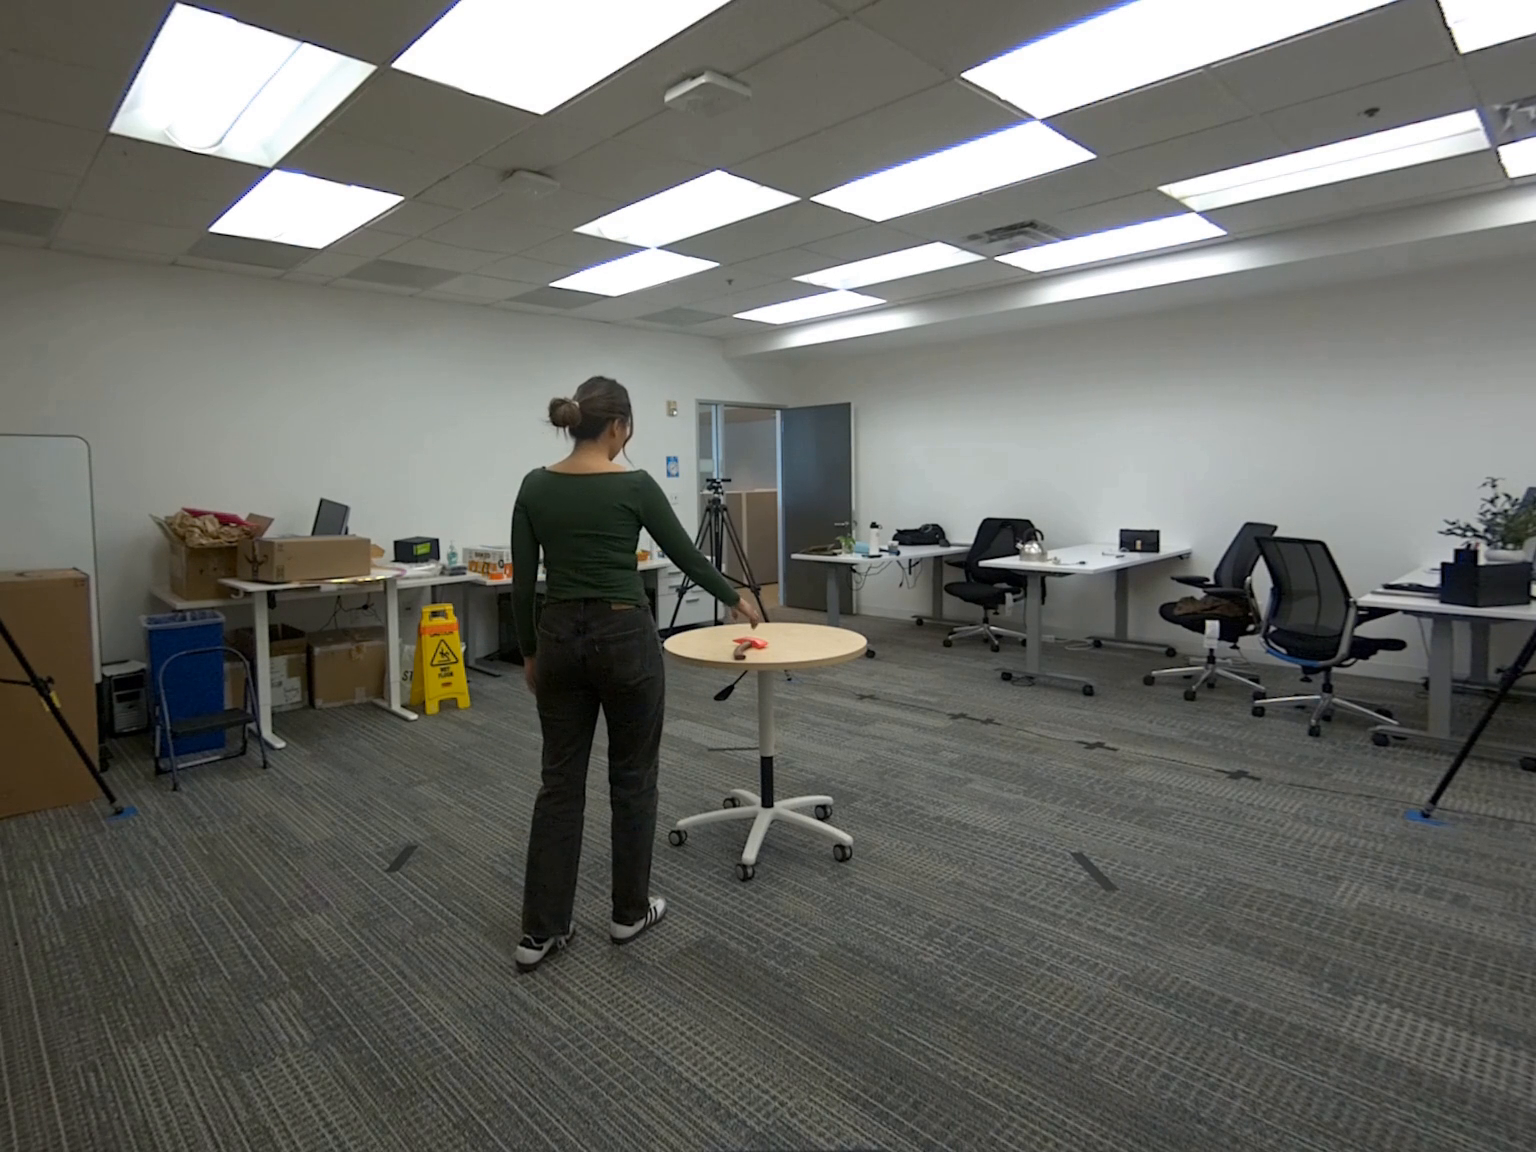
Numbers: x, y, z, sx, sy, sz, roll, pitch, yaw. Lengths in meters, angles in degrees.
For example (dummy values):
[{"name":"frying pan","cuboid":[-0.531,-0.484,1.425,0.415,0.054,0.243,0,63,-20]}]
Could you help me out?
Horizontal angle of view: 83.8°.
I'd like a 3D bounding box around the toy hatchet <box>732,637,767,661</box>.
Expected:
[{"name":"toy hatchet","cuboid":[-0.059,0.259,3.032,0.131,0.029,0.272,1,8,-4]}]
